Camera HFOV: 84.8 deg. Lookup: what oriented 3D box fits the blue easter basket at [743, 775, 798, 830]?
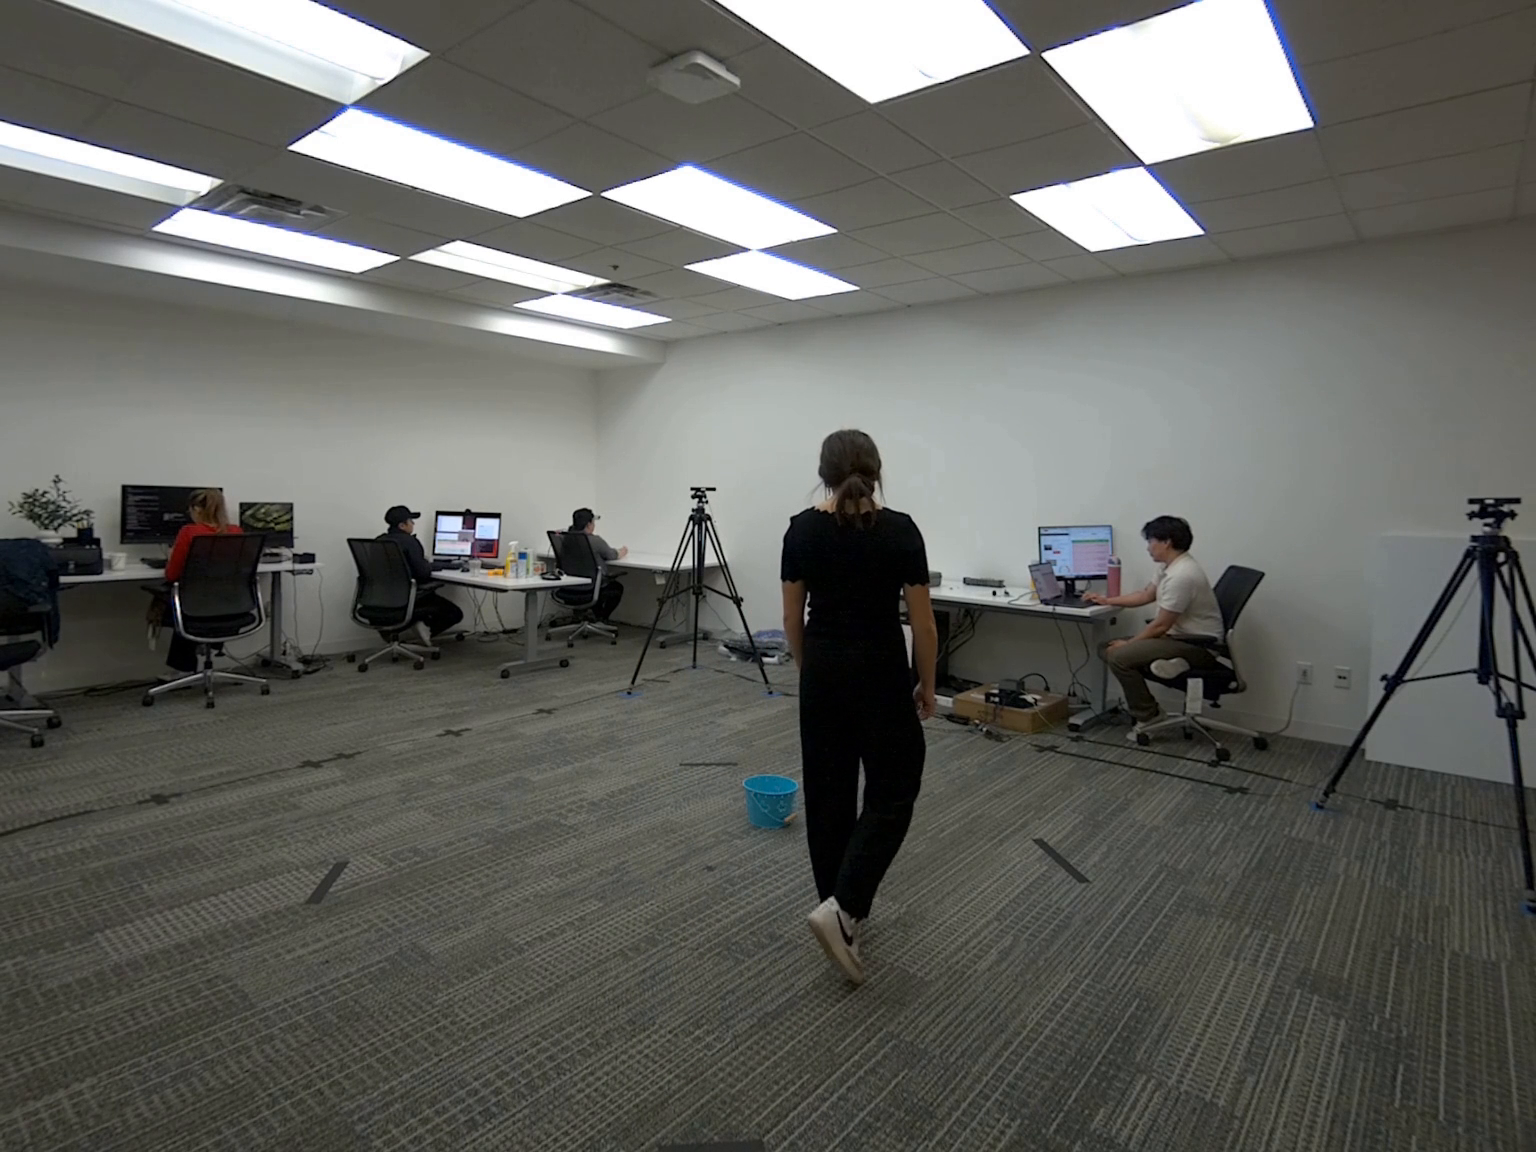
[{"bbox_3d":[-0.001,0.944,3.572,0.243,0.155,0.245,1,5,-2],"label":"blue easter basket"}]
